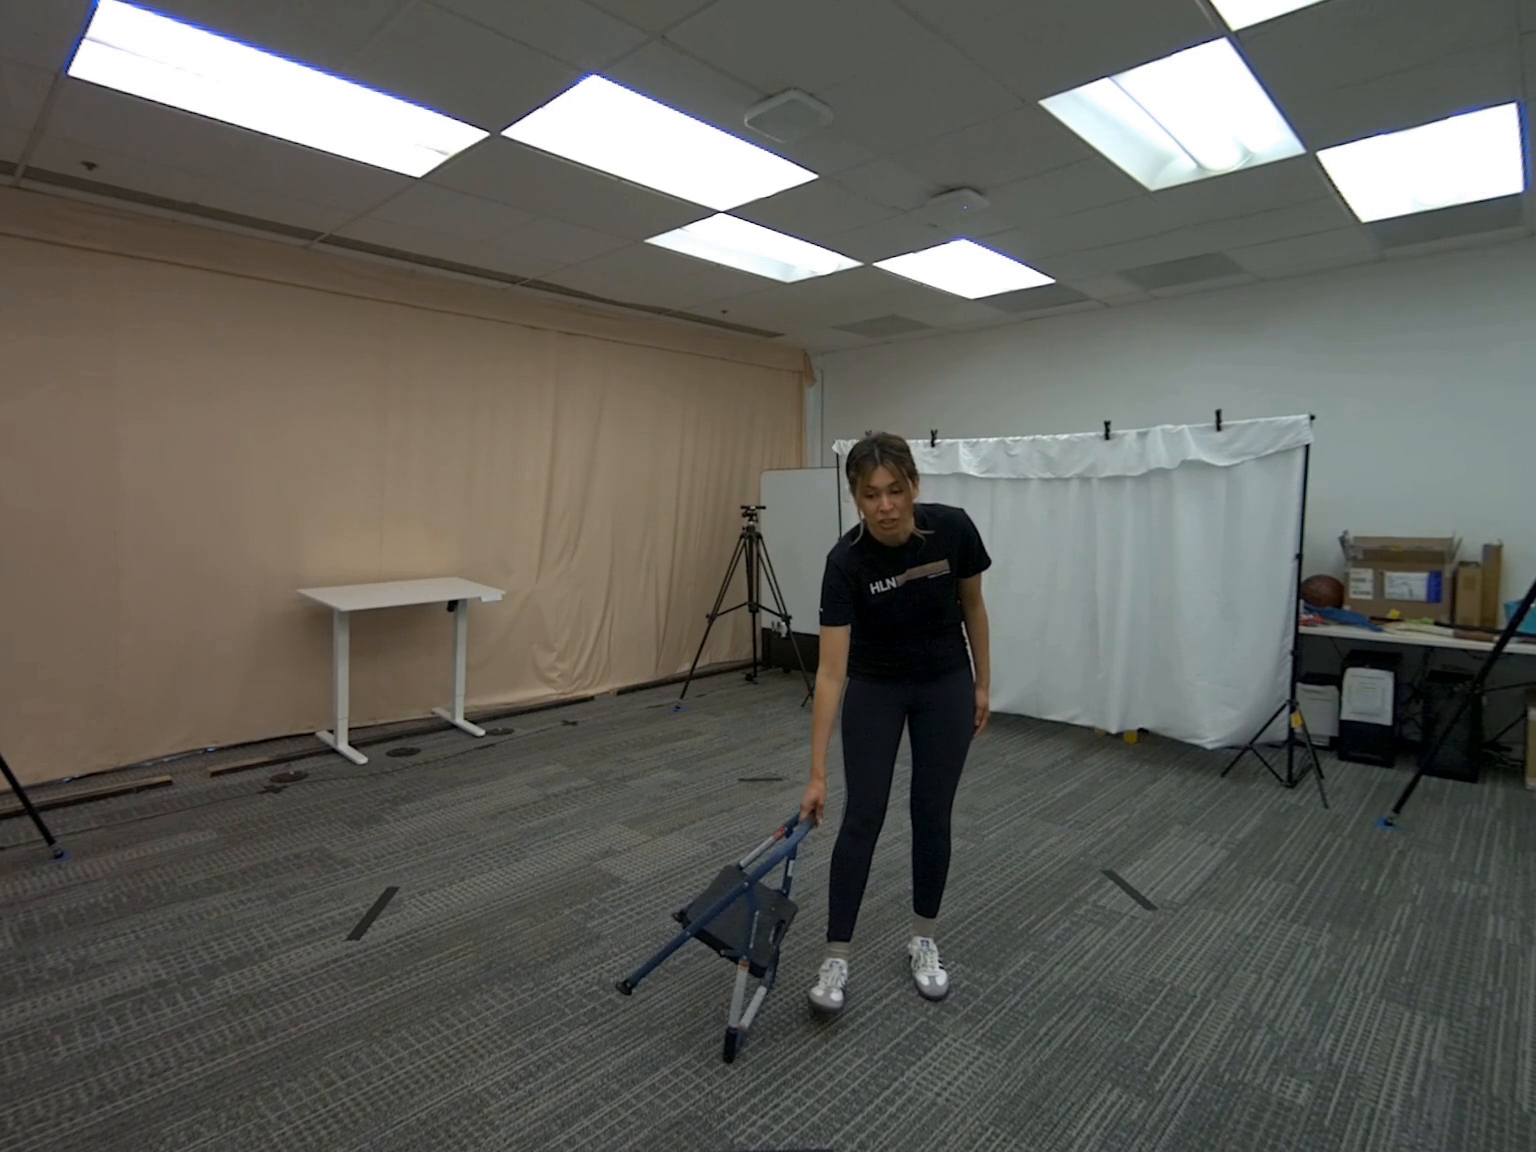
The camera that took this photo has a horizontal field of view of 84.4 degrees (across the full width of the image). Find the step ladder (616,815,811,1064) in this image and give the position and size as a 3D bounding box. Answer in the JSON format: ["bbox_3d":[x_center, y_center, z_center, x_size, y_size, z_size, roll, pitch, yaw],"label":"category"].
[{"bbox_3d":[-0.060,0.866,2.276,0.355,0.605,0.424,27,11,13],"label":"step ladder"}]
